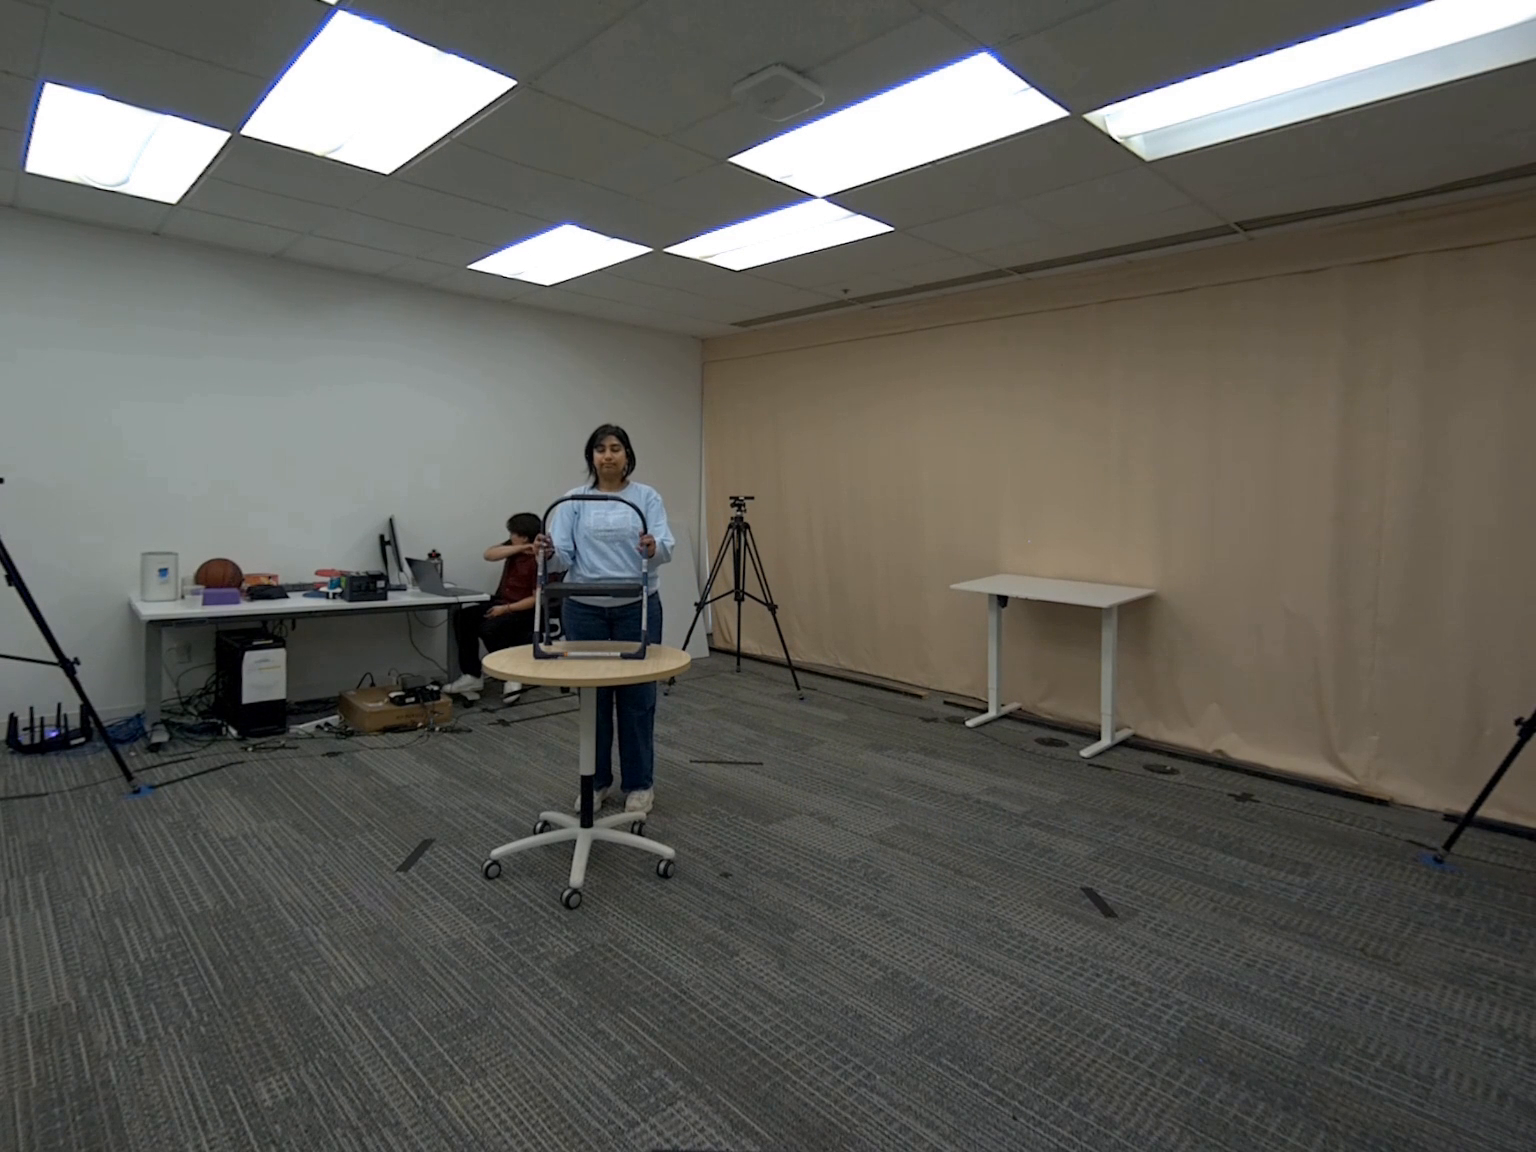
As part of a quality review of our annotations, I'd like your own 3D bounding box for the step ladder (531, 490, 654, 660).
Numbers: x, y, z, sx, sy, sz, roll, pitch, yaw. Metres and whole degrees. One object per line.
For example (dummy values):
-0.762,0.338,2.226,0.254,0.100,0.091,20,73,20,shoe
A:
-0.681,-0.006,3.262,0.429,0.605,0.351,1,2,-4,step ladder
